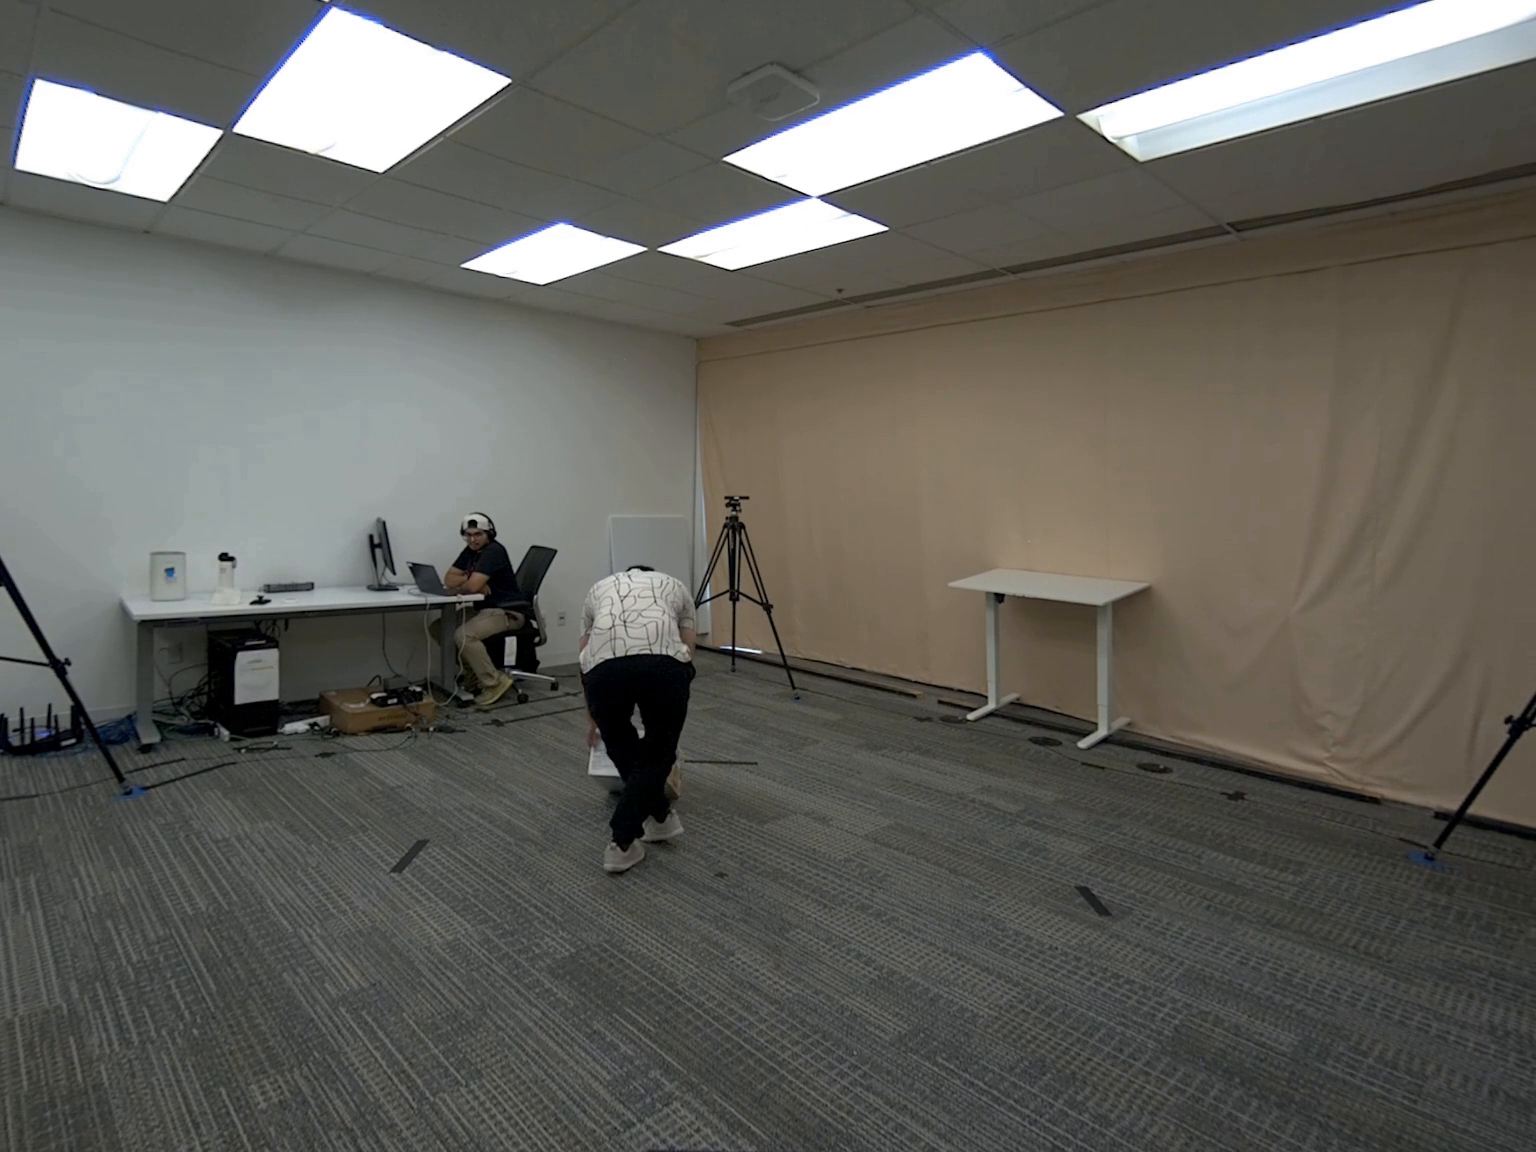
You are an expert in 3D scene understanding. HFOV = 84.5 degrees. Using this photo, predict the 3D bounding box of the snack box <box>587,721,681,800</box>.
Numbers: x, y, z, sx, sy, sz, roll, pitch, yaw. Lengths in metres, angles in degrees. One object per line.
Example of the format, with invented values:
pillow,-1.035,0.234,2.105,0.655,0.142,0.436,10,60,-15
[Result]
snack box,-0.600,0.849,3.791,0.342,0.209,0.397,2,-25,4
